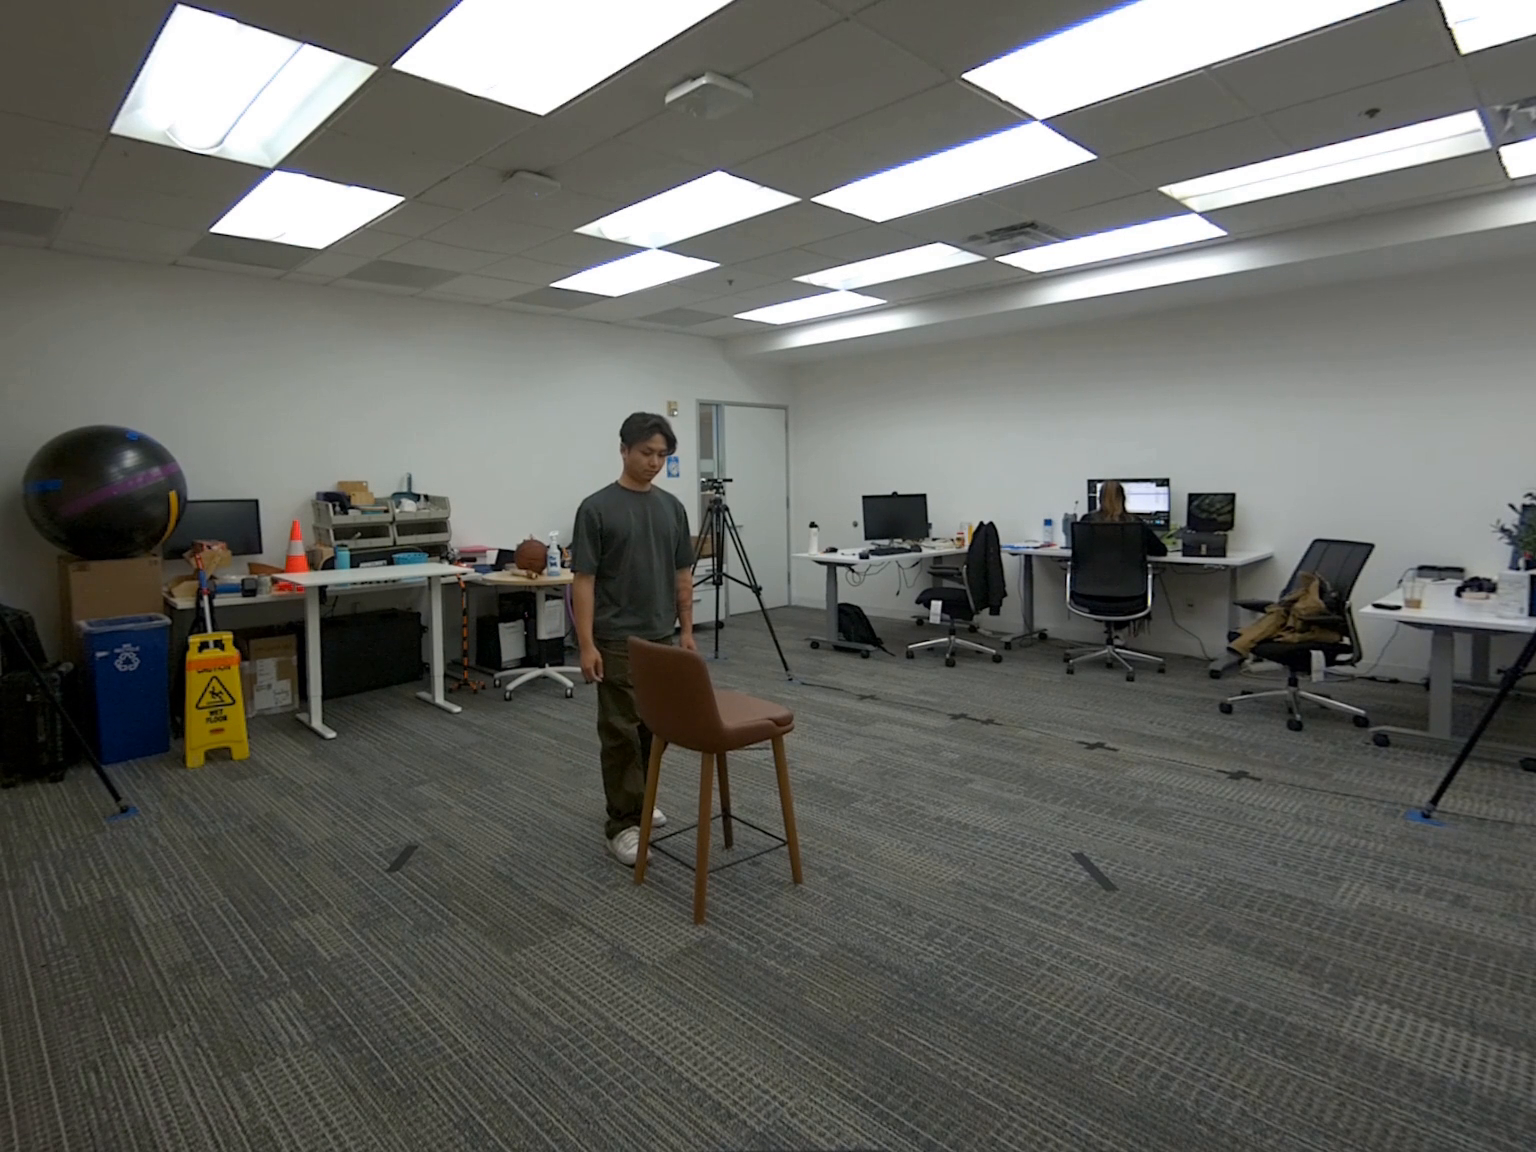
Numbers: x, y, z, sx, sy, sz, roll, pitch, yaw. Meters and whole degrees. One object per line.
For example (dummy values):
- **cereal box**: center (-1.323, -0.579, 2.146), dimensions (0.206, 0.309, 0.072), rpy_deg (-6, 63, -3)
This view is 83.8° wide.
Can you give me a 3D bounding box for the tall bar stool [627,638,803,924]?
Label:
- **tall bar stool**: center (-0.183, 0.631, 2.934), dimensions (0.456, 0.885, 0.470), rpy_deg (-7, 7, -40)
